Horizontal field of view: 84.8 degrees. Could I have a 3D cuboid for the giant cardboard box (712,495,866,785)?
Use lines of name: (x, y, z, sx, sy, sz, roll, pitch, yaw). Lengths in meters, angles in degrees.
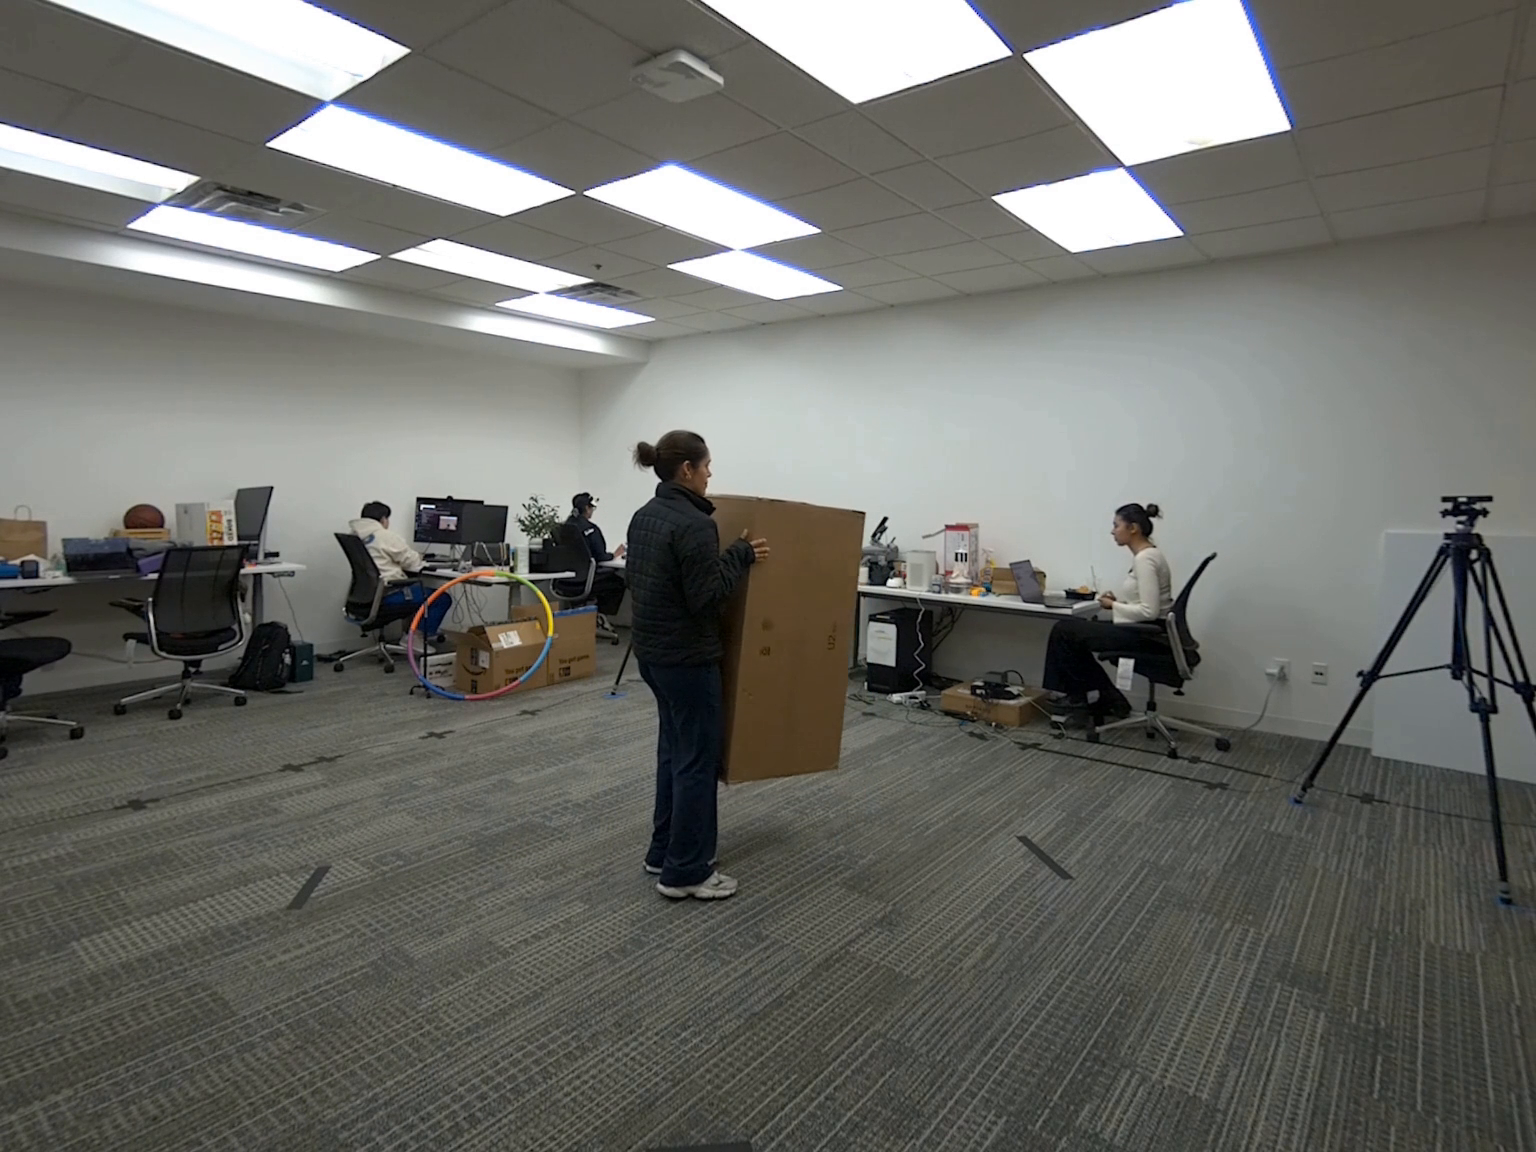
giant cardboard box: (0.002, 0.218, 3.334, 0.558, 1.025, 0.441, 5, 2, -39)
